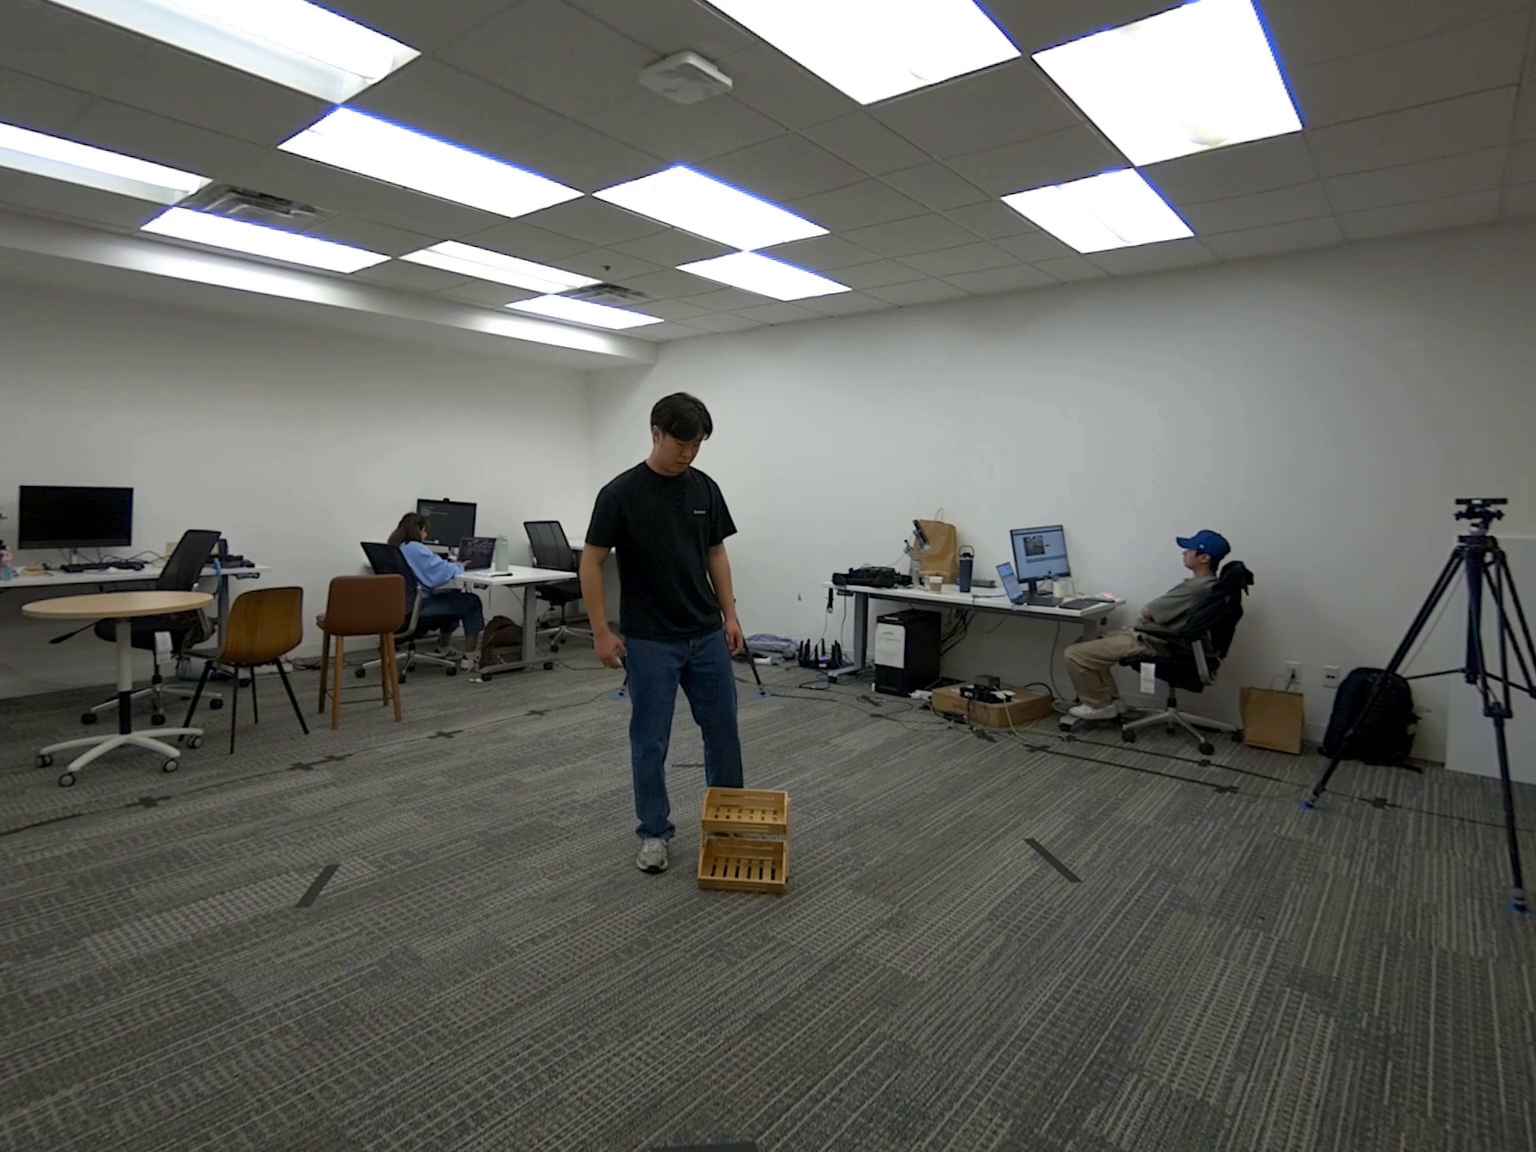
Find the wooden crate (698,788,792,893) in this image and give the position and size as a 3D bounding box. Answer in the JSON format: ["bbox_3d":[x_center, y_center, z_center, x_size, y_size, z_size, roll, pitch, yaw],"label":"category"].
[{"bbox_3d":[-0.088,0.945,3.065,0.326,0.272,0.302,2,4,3],"label":"wooden crate"}]
